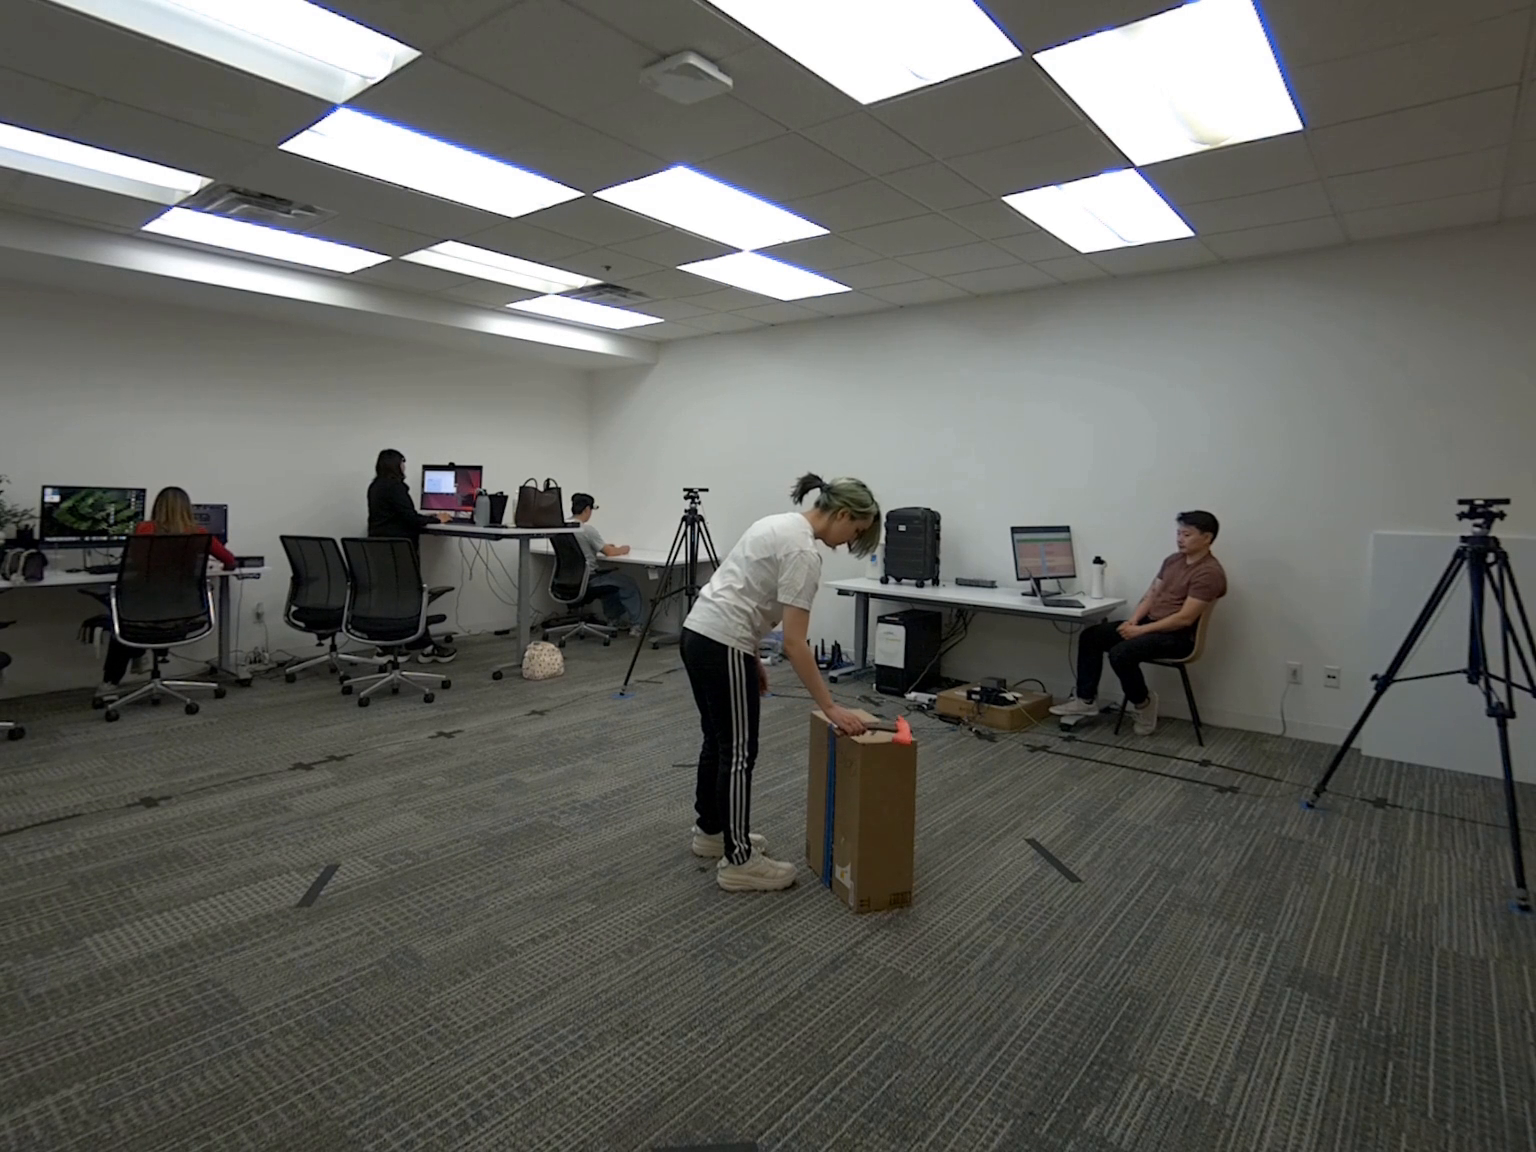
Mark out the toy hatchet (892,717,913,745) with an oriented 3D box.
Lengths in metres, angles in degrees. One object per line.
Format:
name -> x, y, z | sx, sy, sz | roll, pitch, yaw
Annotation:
toy hatchet -> 0.337, 0.509, 2.767 | 0.266, 0.029, 0.136 | -6, 31, -17
